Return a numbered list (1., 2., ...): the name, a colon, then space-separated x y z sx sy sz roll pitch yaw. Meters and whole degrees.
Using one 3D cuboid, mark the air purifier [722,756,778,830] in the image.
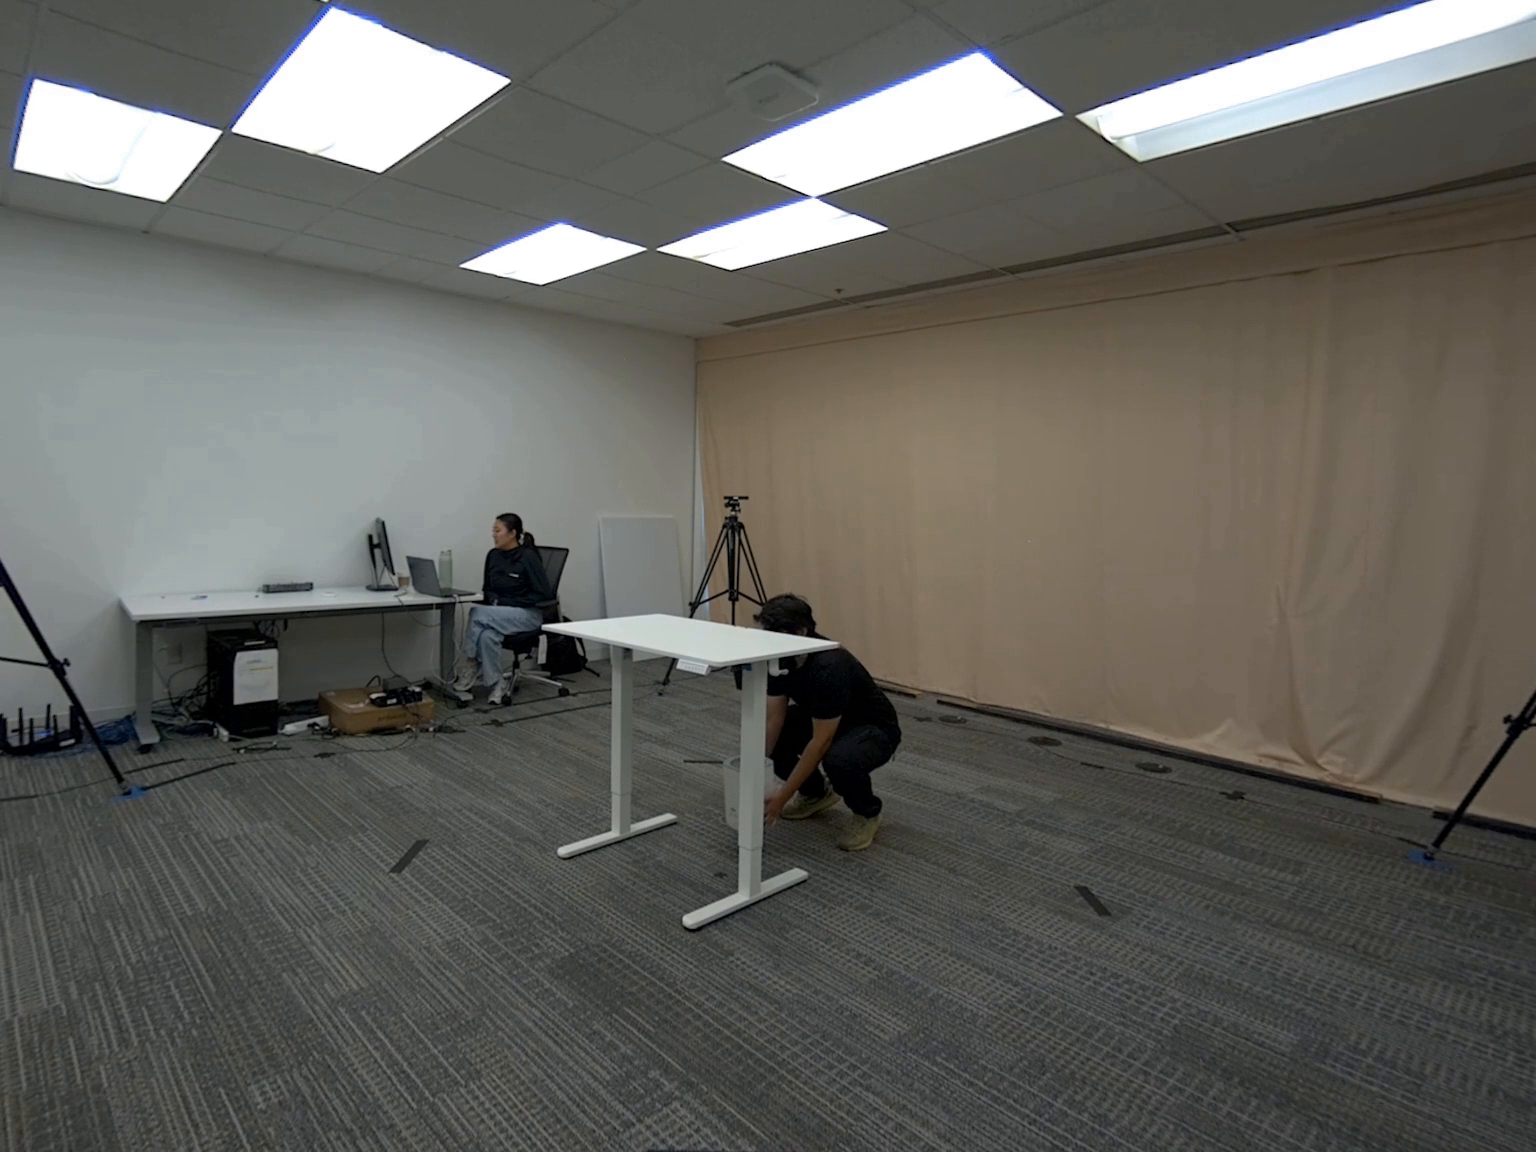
1. air purifier: -0.072 0.861 3.325 0.168 0.264 0.175 -8 9 -40
